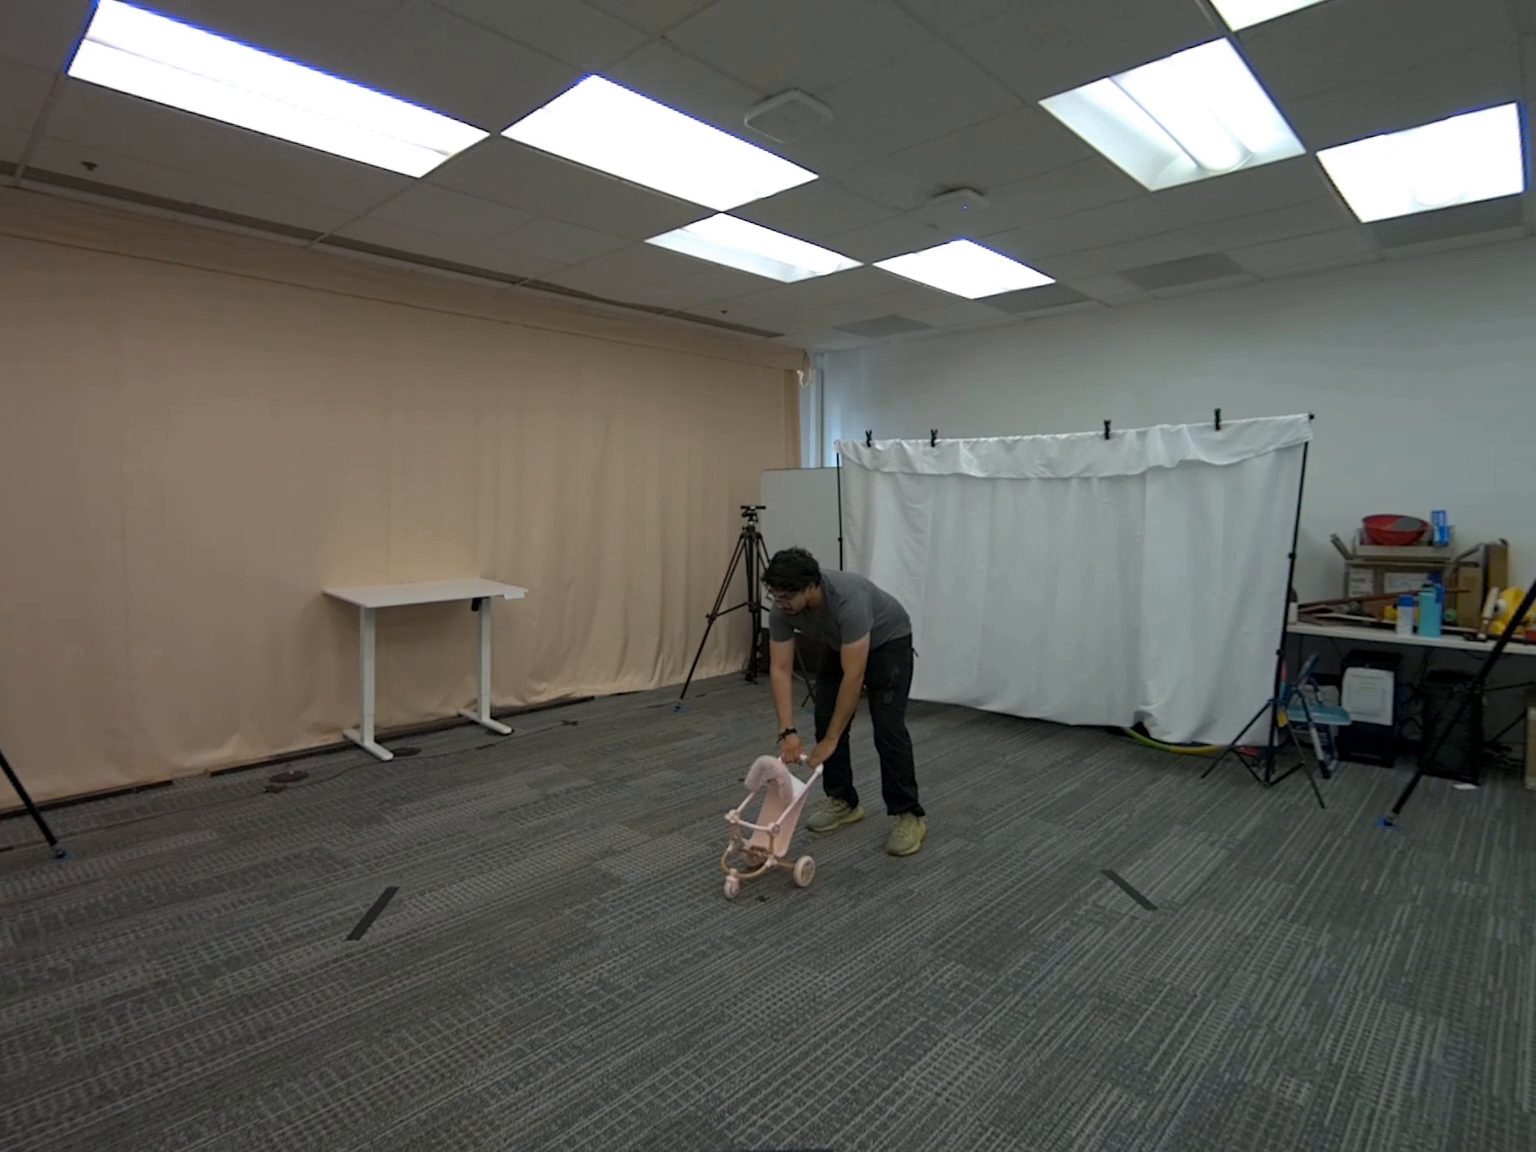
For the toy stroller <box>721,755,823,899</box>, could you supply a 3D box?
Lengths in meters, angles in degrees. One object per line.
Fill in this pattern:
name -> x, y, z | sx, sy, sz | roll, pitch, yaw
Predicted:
toy stroller -> 0.004, 0.907, 3.120 | 0.329, 0.537, 0.291 | 20, -12, -42
